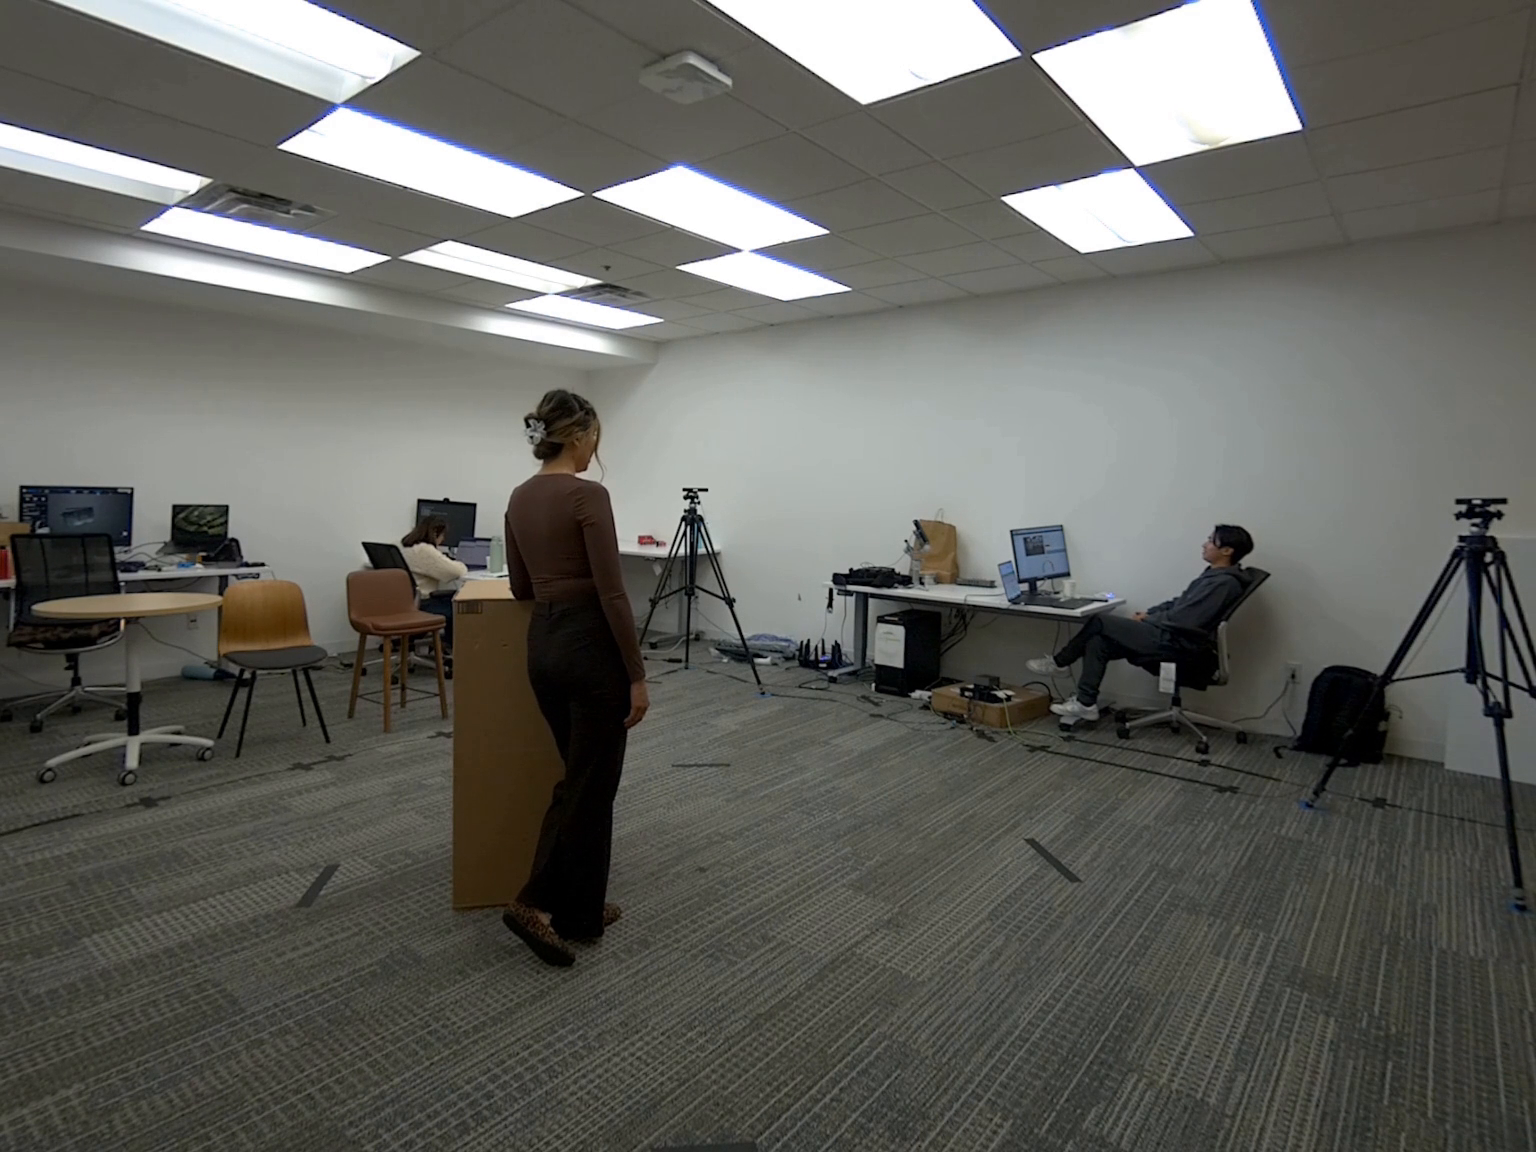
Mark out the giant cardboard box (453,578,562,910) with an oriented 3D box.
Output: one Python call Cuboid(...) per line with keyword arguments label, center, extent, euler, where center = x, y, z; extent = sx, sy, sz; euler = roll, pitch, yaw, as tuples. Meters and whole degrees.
Cuboid(label="giant cardboard box", center=(-0.912, 0.552, 3.081), extent=(0.440, 1.024, 0.595), euler=(0, 3, -15))
